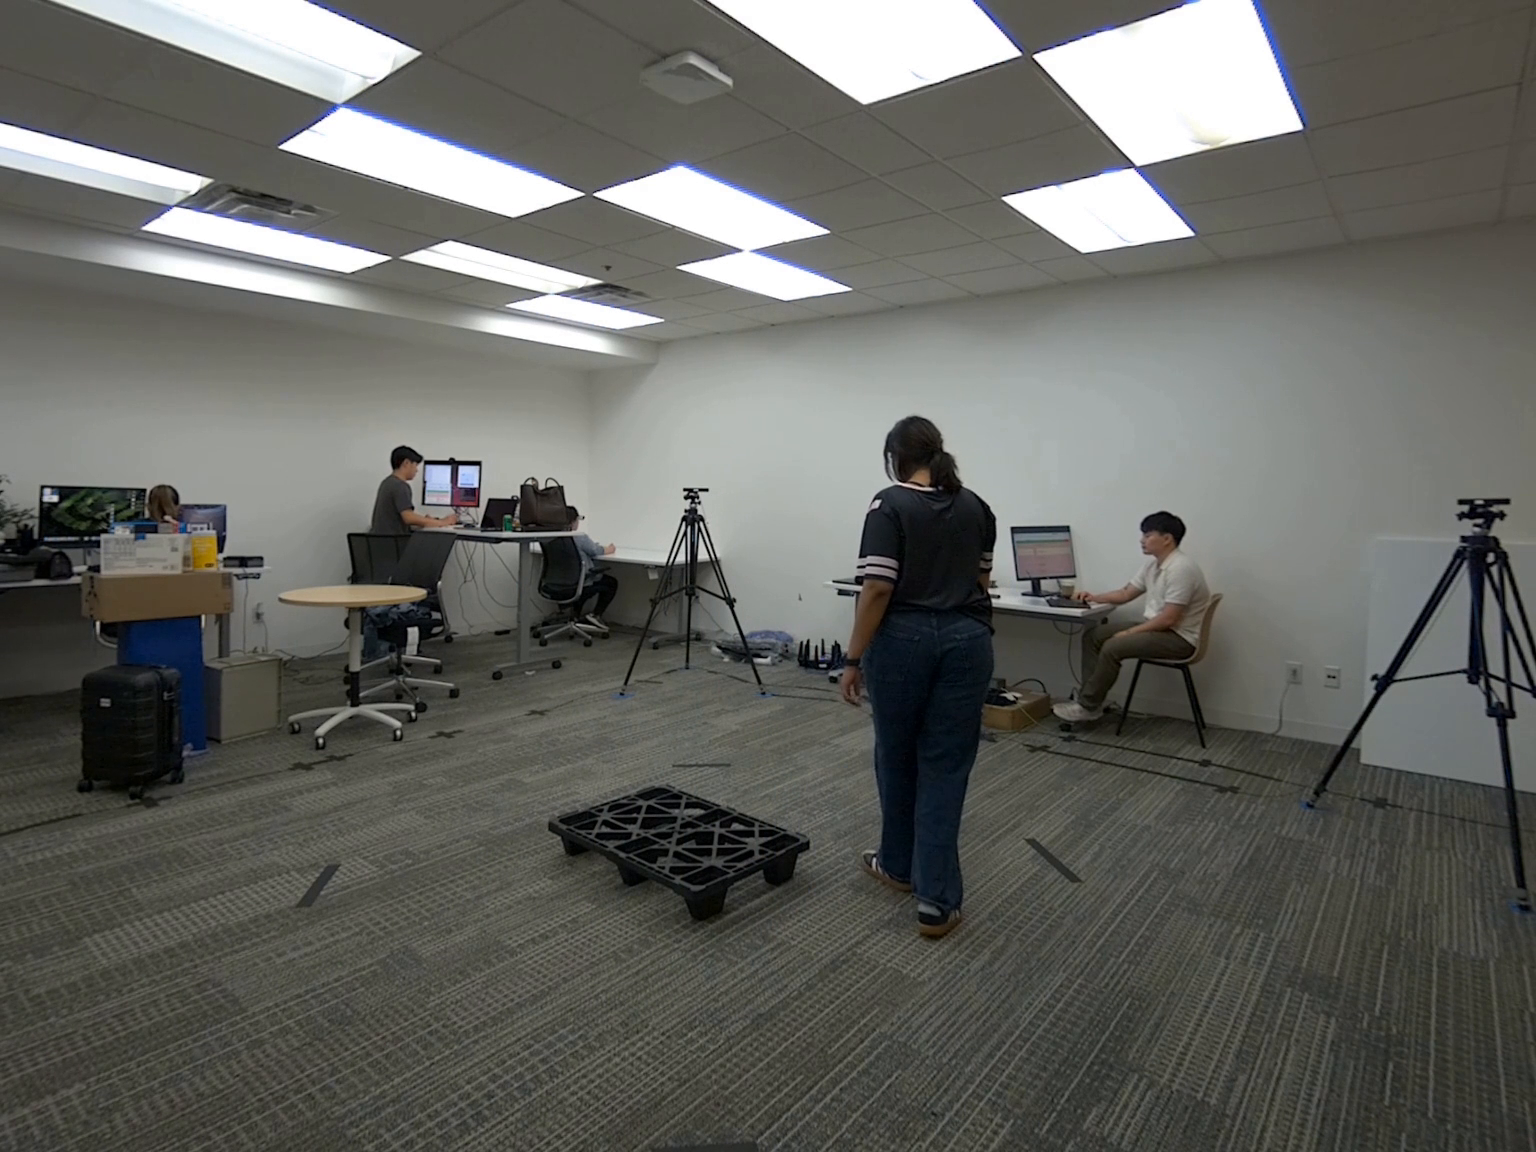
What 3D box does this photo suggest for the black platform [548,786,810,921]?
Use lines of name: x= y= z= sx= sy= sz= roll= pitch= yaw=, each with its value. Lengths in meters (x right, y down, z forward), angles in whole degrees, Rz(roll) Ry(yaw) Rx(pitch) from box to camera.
black platform: x=-0.350 y=0.998 z=3.144 sx=0.833 sy=0.143 sz=0.587 roll=6 pitch=7 yaw=42
